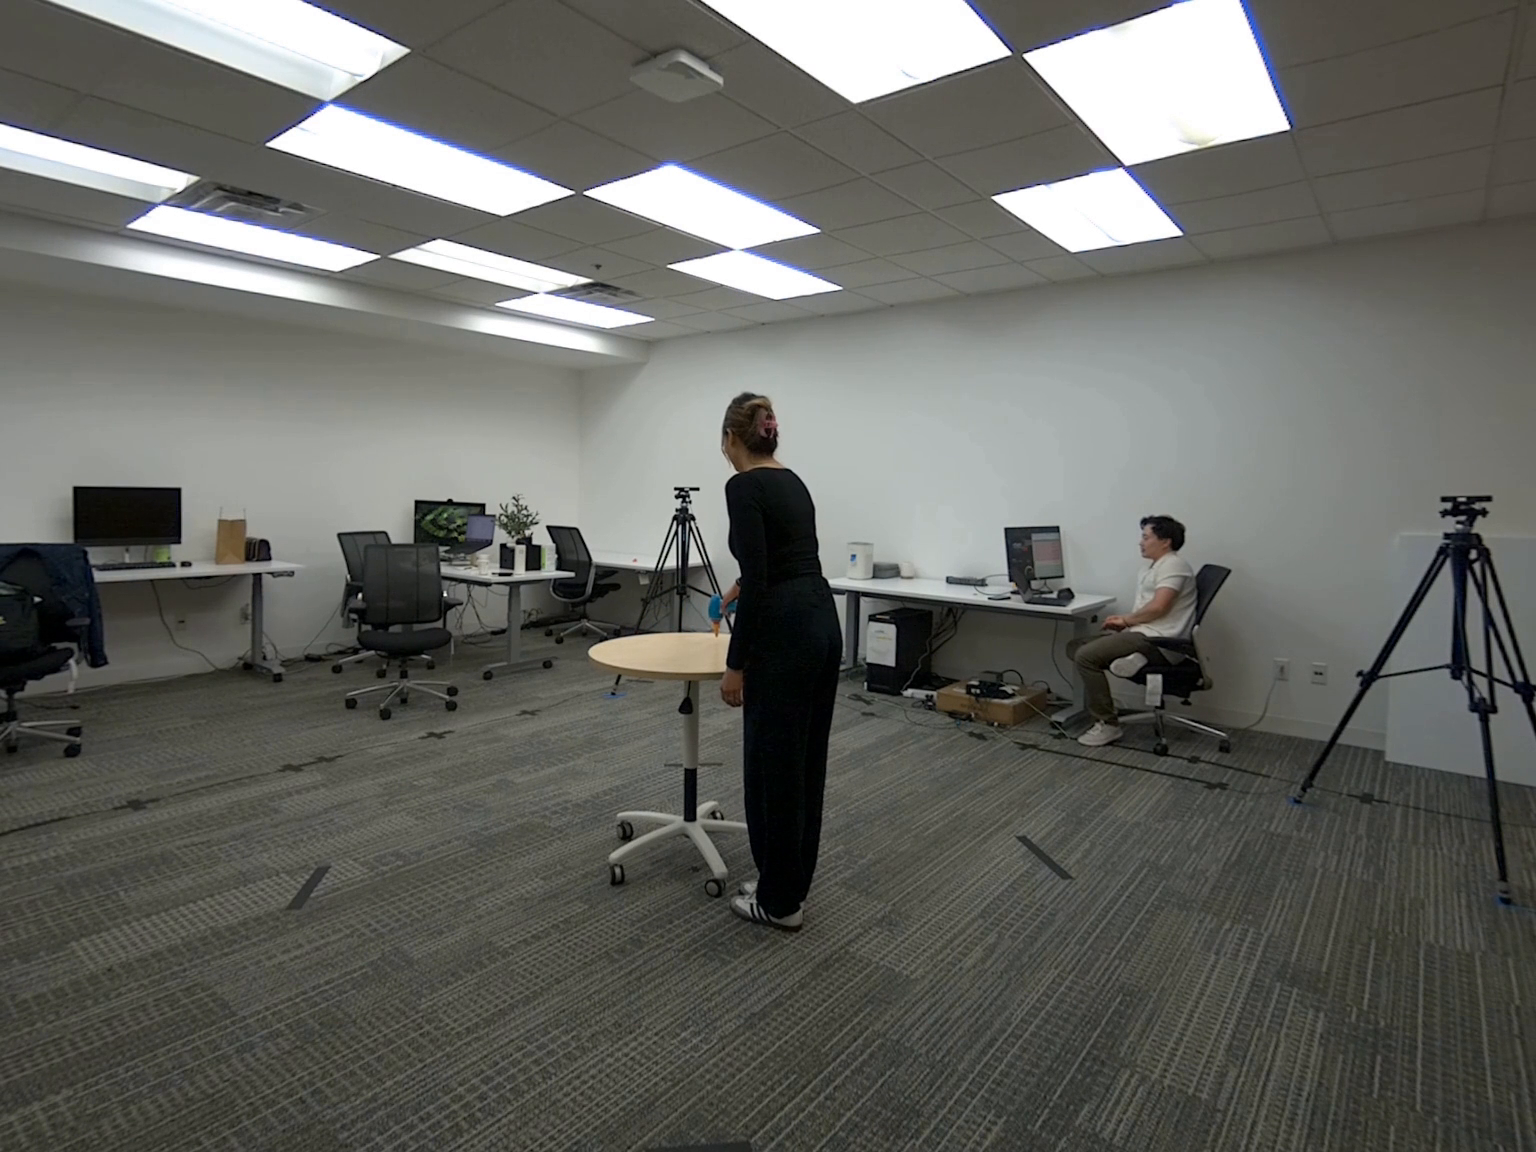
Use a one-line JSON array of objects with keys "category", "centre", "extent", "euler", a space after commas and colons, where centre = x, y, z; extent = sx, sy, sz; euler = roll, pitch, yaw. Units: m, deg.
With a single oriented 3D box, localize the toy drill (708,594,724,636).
[{"category": "toy drill", "centre": [-0.178, 0.154, 3.328], "extent": [0.149, 0.170, 0.060], "euler": [1, -1, 23]}]
